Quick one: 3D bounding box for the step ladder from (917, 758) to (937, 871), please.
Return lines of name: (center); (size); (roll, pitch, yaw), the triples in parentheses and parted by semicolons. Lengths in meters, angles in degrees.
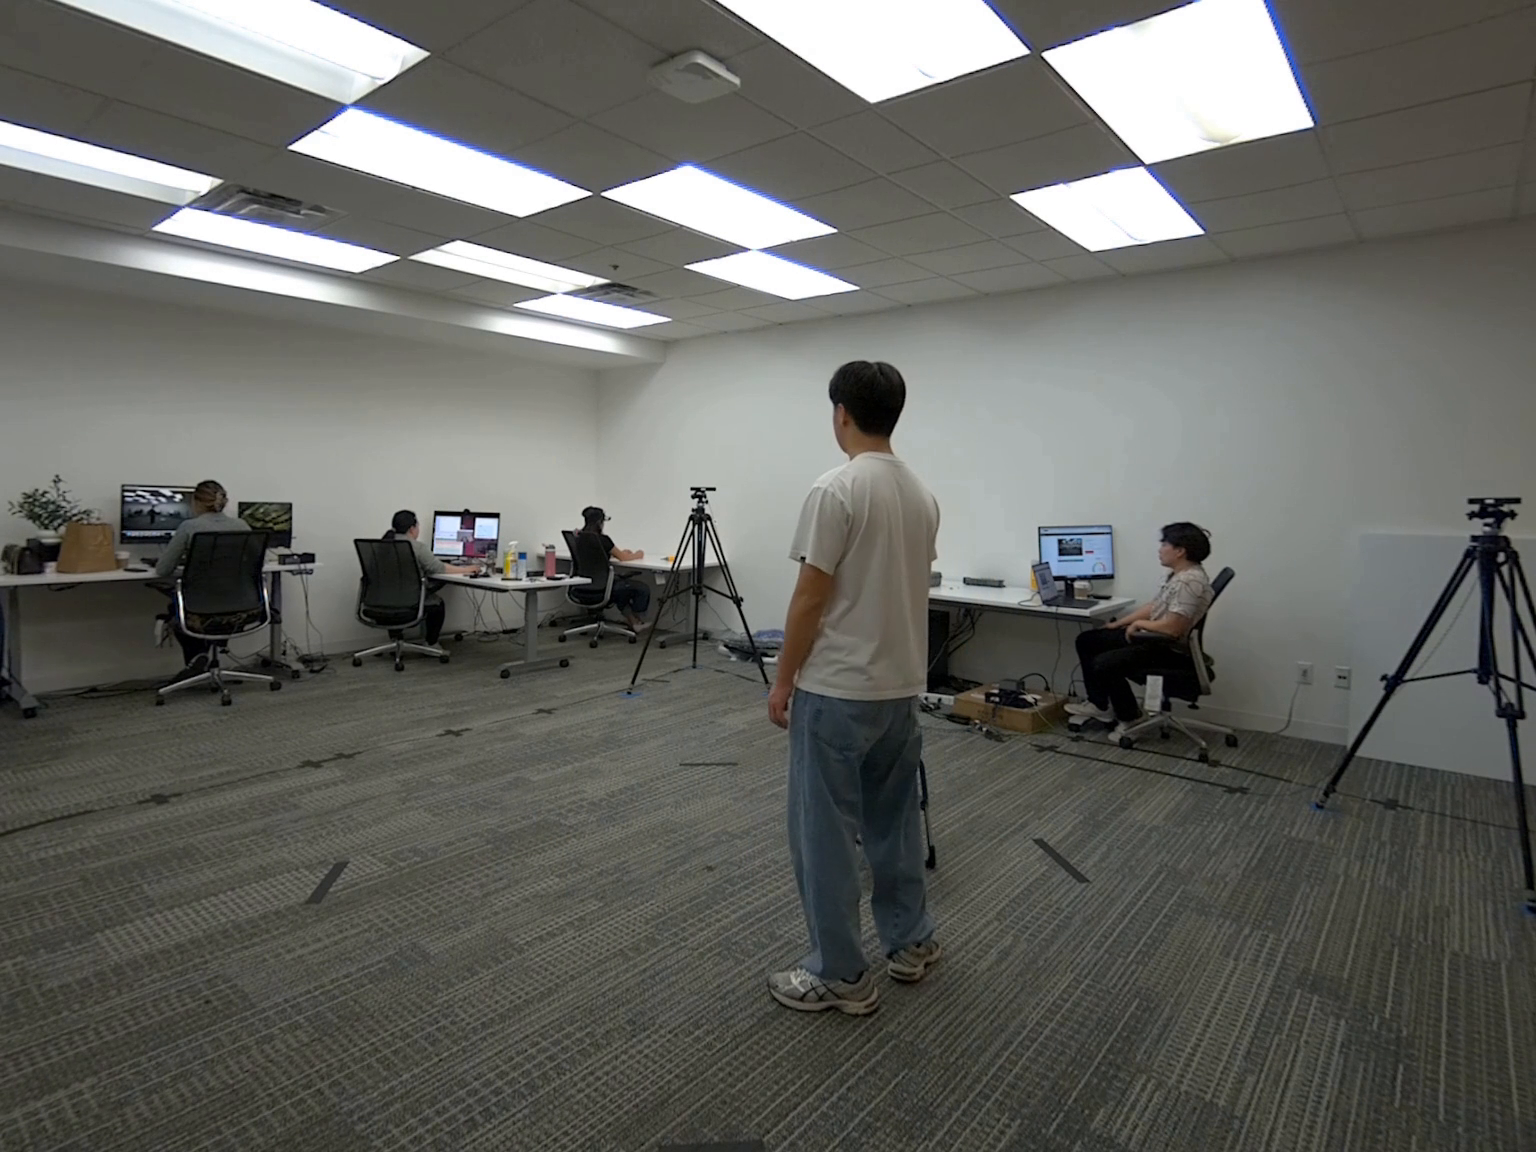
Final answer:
step ladder: (0.357, 0.761, 3.156); (0.445, 0.604, 0.339); (4, 5, 39)
